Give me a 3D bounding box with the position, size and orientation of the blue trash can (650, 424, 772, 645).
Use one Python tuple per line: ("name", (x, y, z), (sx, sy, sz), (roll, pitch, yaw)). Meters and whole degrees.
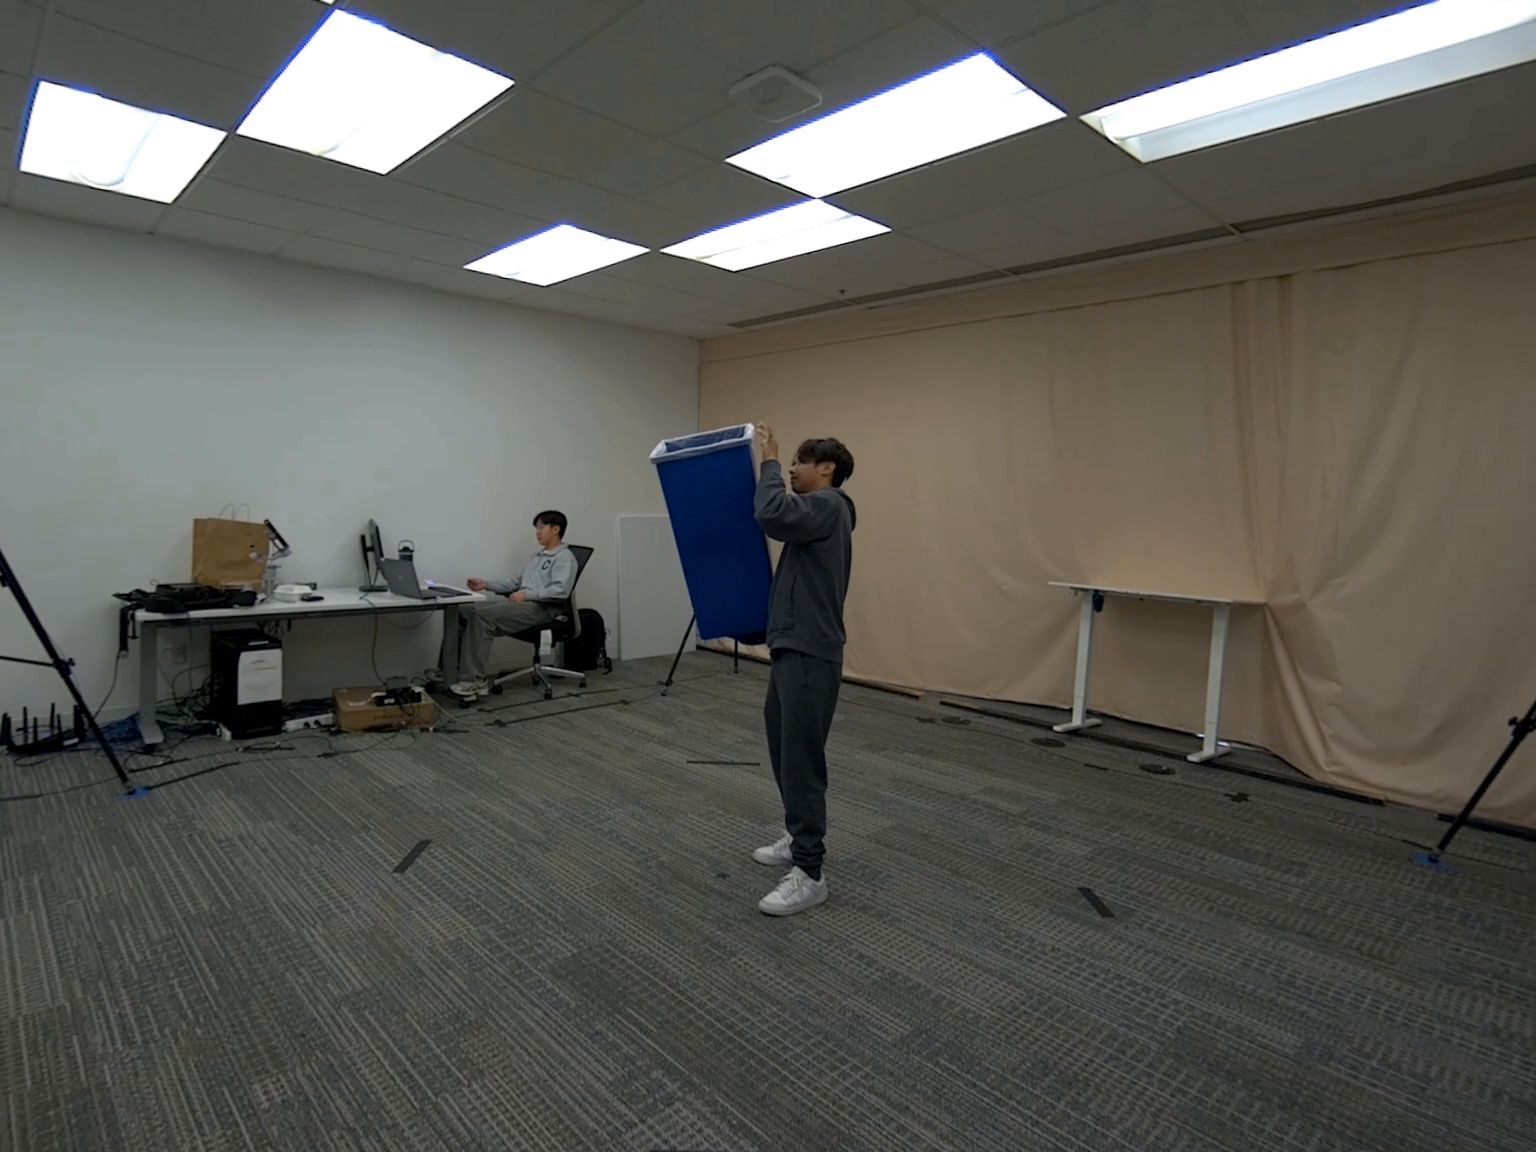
("blue trash can", (-0.174, -0.169, 3.151), (0.375, 0.705, 0.382), (-9, 14, 3))
